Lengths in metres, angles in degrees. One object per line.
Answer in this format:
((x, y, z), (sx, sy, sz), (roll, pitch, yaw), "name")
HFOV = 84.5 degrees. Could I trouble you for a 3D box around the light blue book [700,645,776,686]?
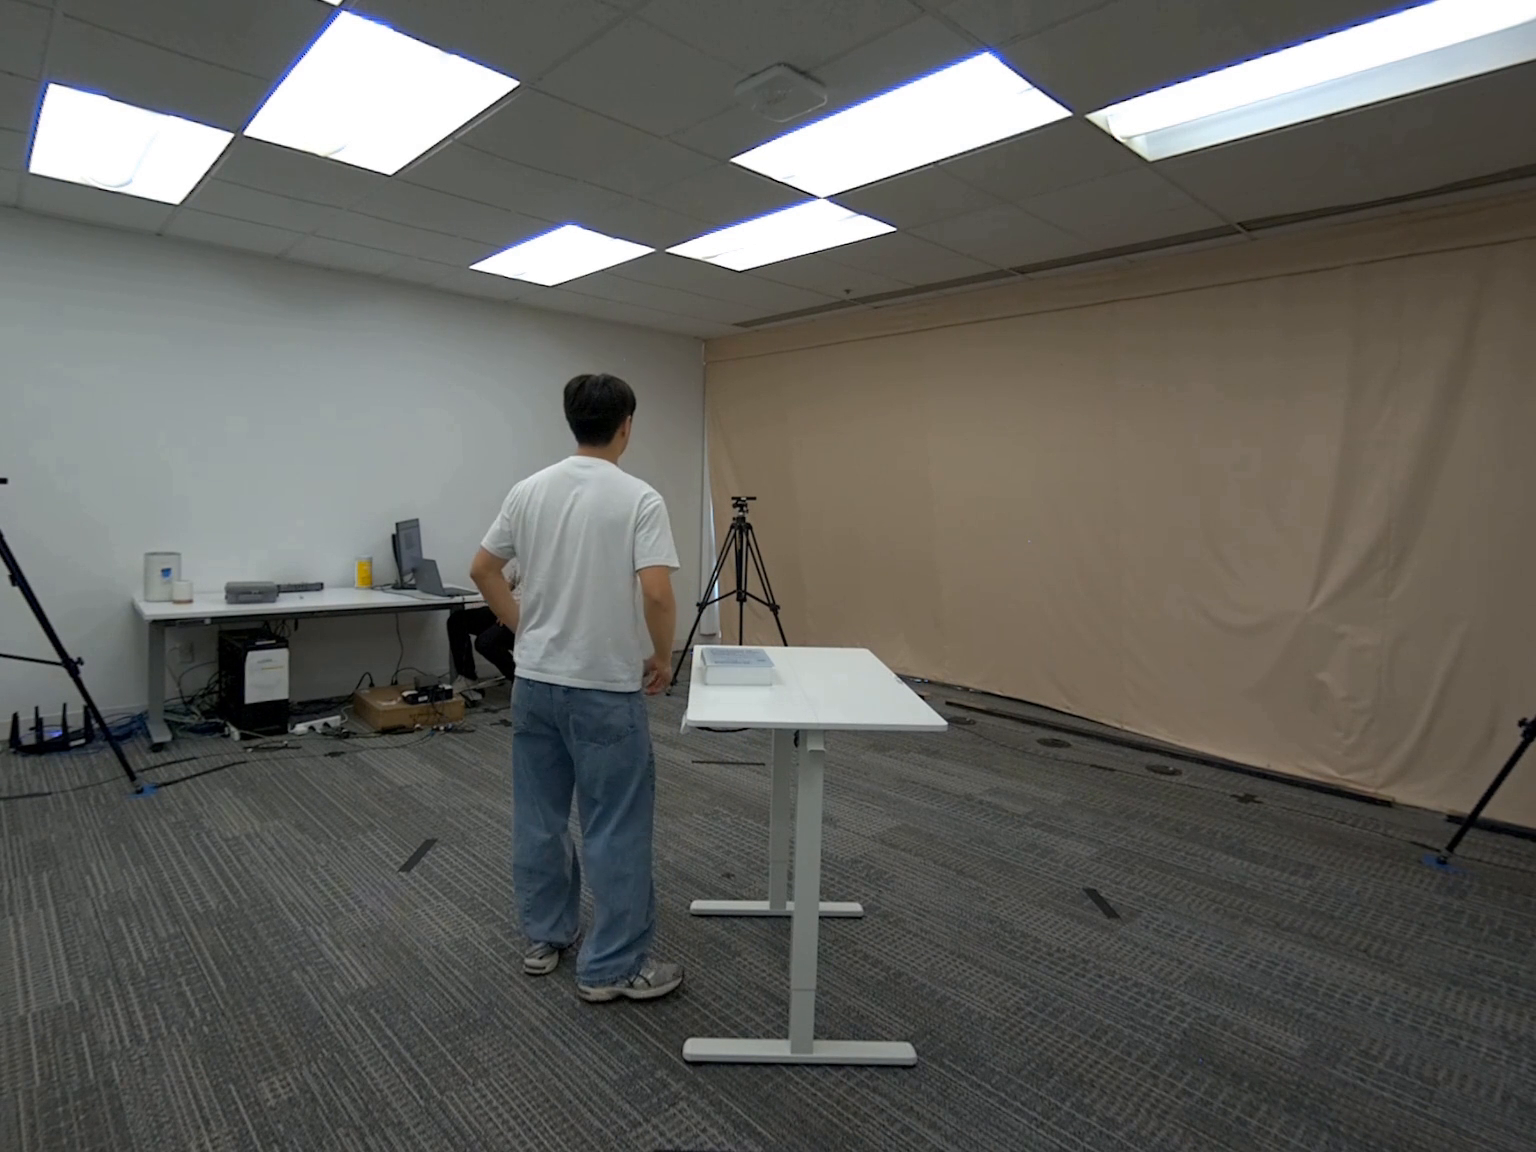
((-0.104, 0.263, 2.385), (0.190, 0.059, 0.263), (1, 5, -7), "light blue book")
